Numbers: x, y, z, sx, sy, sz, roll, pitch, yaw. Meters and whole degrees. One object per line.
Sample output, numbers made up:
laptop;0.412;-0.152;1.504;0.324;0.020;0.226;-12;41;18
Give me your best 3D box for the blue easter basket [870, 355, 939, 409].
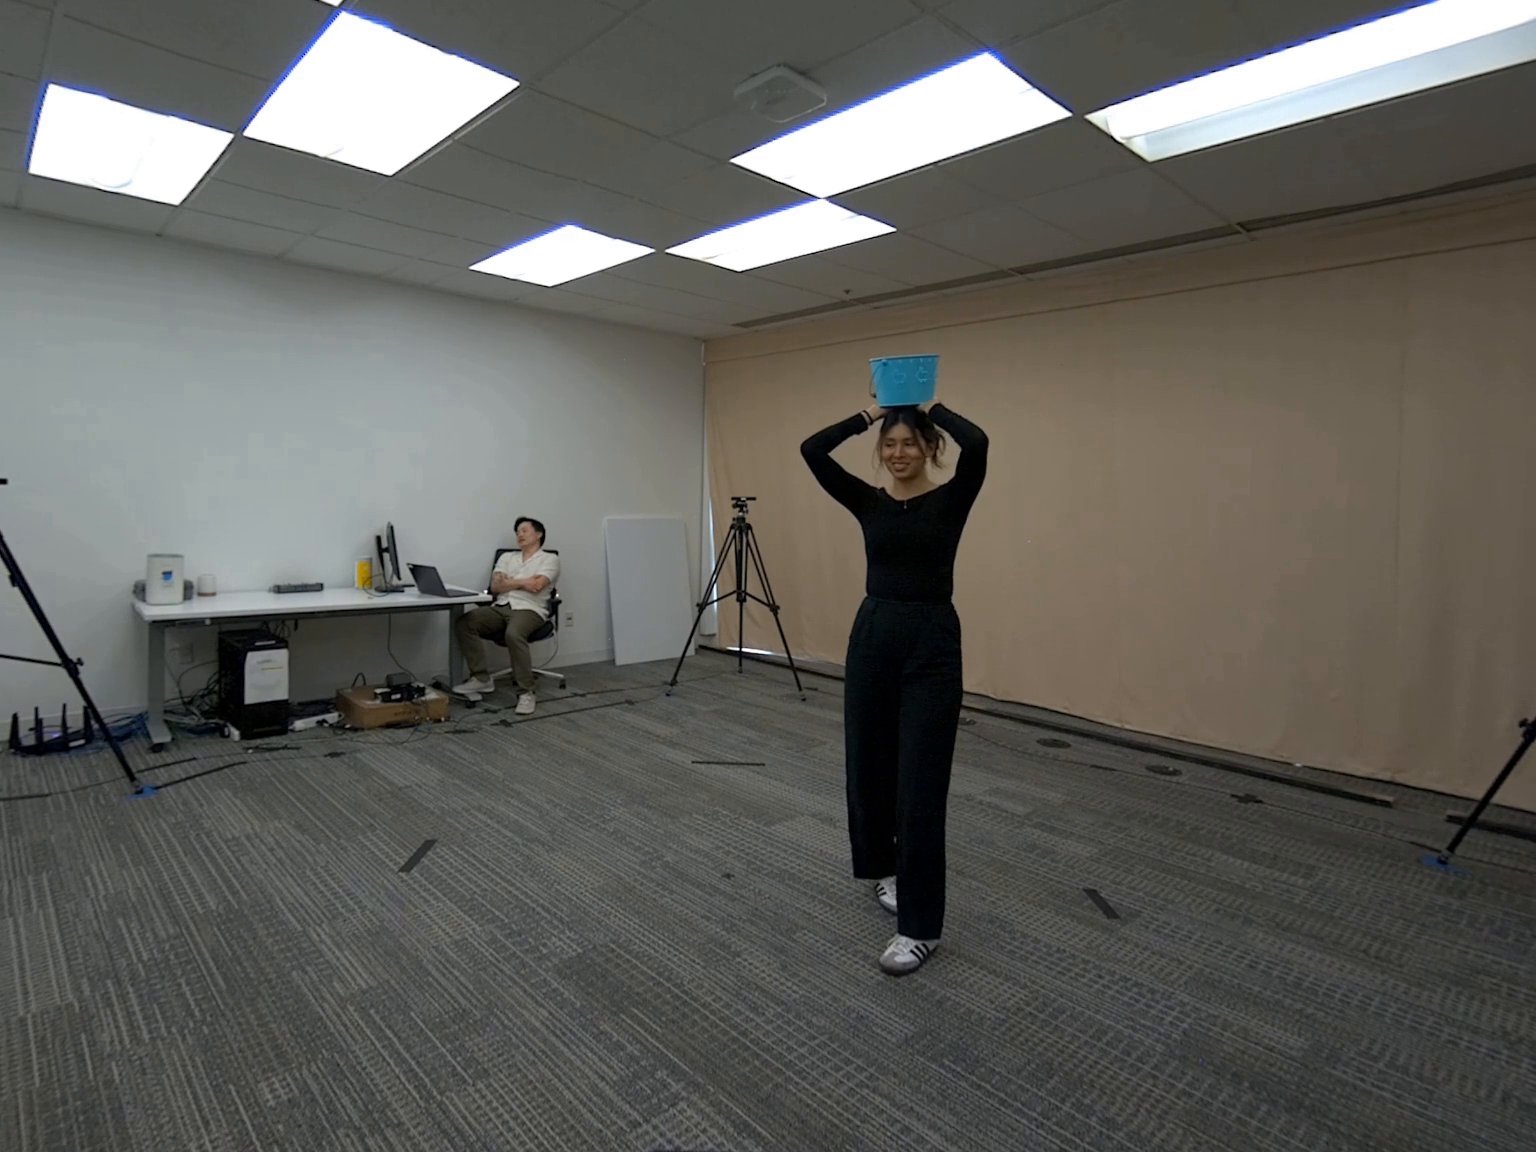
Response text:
blue easter basket;0.454;-0.641;2.763;0.243;0.155;0.245;0;10;-1
